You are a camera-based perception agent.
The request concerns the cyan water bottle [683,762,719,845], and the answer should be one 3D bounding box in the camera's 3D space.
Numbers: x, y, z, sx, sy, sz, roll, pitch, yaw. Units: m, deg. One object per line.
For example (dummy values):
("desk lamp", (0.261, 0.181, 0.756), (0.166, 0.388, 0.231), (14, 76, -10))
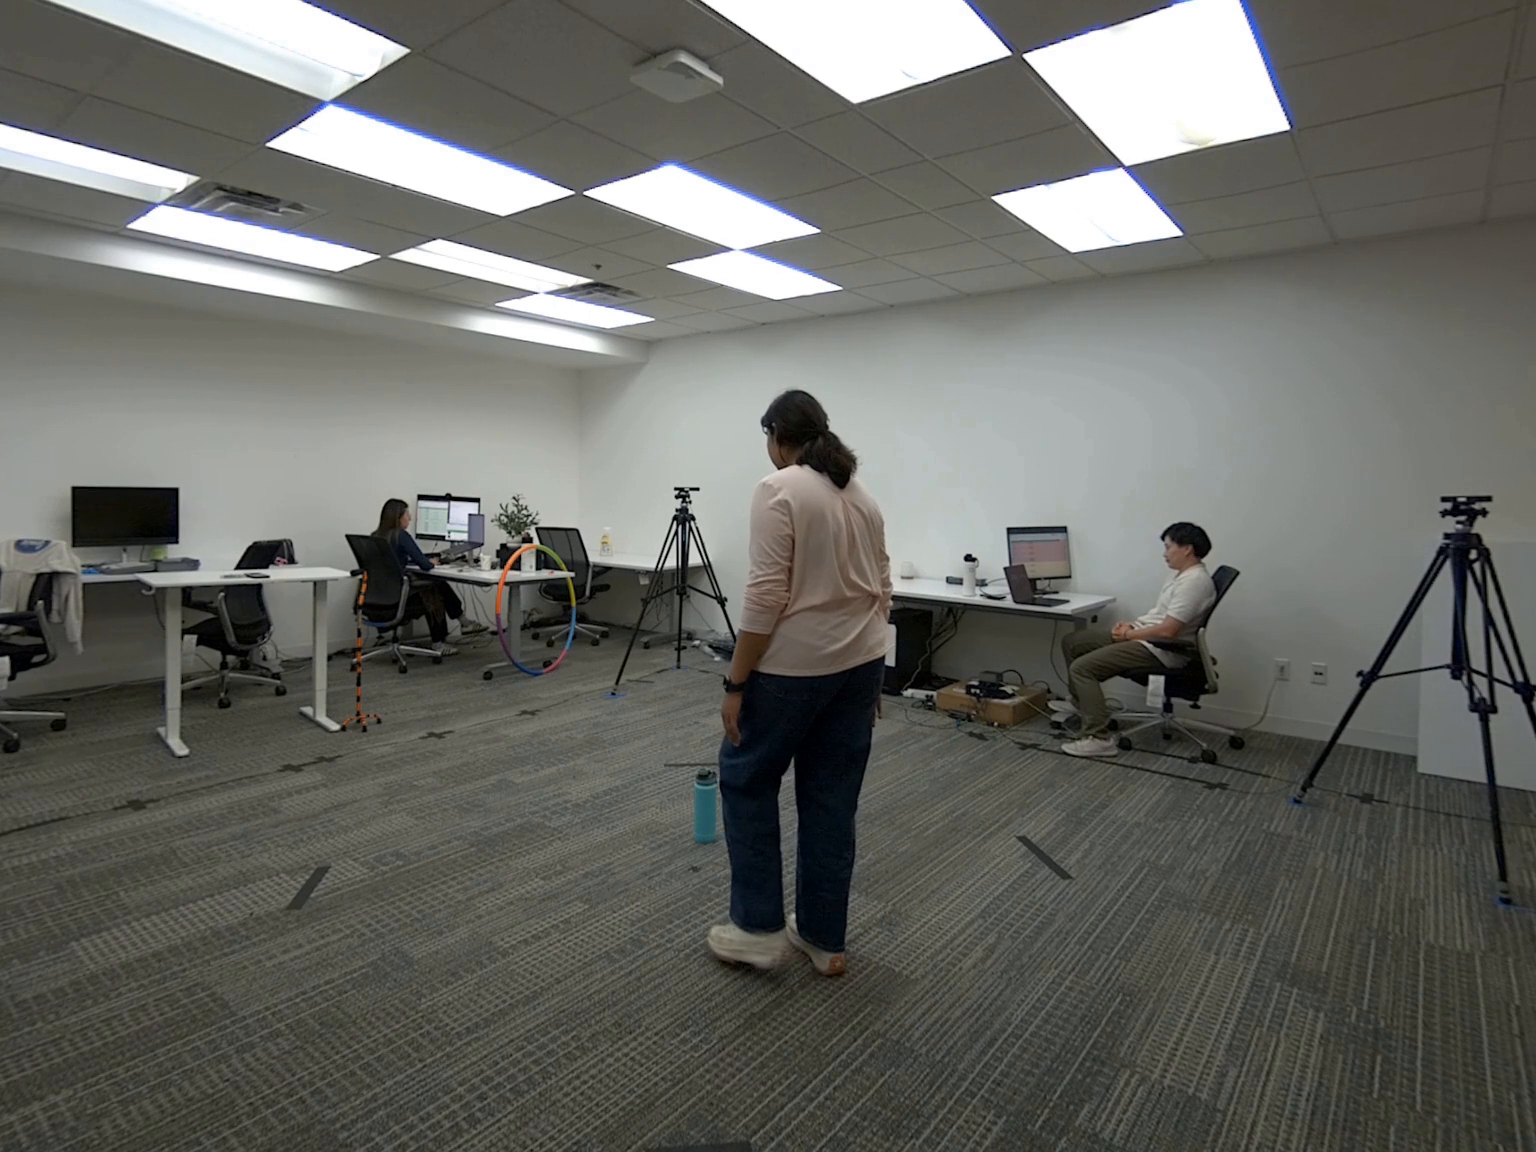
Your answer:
("cyan water bottle", (-0.255, 0.901, 3.371), (0.092, 0.283, 0.092), (1, 1, -2))
